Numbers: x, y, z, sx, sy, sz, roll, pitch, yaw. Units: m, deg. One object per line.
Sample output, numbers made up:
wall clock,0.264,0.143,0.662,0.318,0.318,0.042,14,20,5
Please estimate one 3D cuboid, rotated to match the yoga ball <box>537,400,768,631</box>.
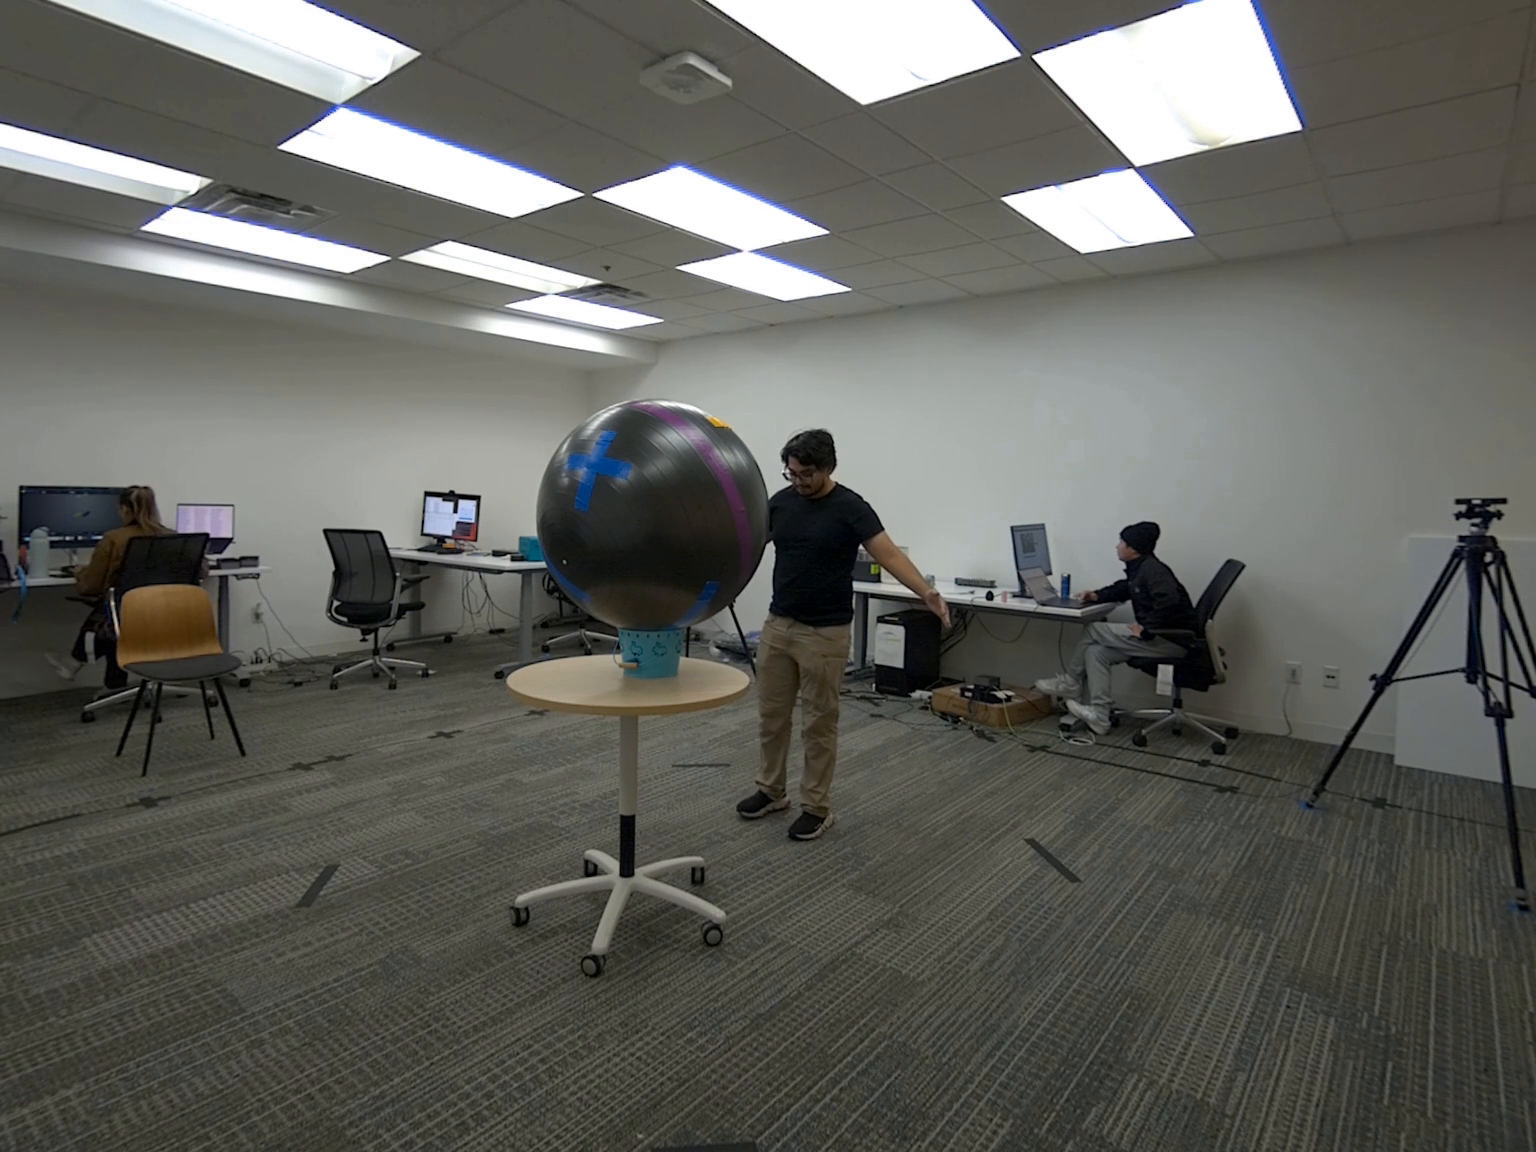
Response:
yoga ball,-0.377,-0.193,2.780,0.757,0.755,0.762,1,4,-2
